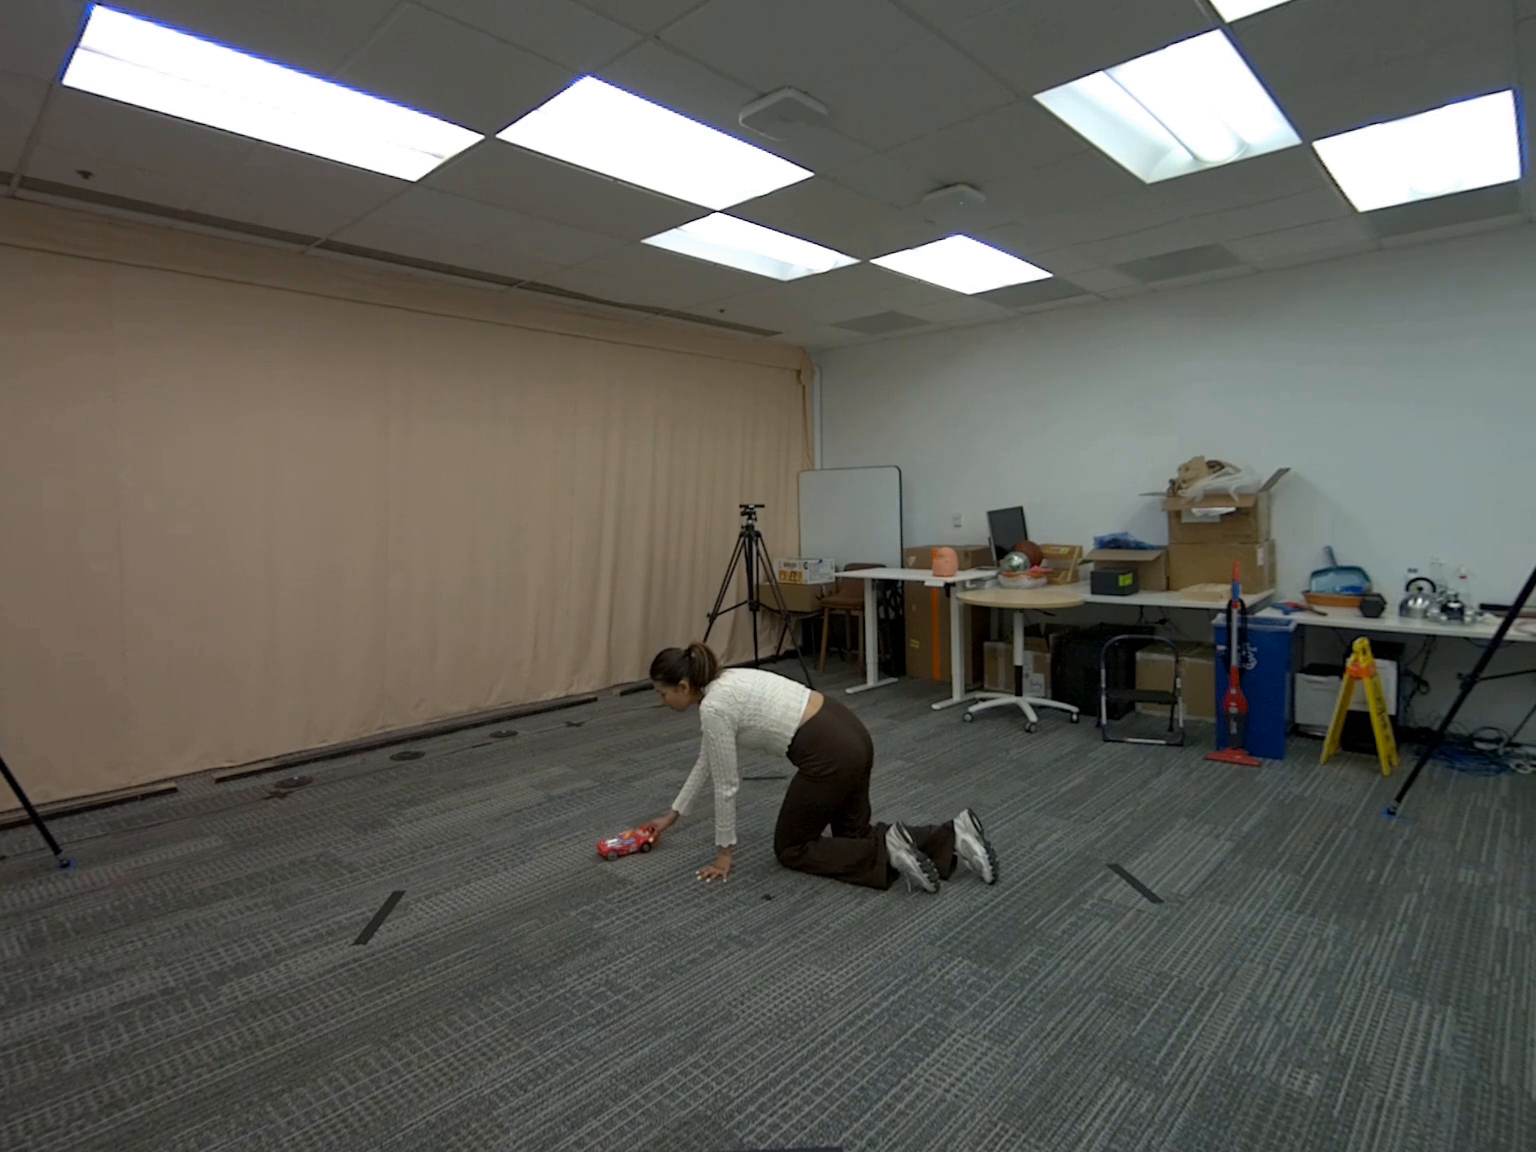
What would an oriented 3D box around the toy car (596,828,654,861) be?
[{"bbox_3d":[-0.564,1.089,3.421,0.249,0.082,0.134,-16,11,-26],"label":"toy car"}]
